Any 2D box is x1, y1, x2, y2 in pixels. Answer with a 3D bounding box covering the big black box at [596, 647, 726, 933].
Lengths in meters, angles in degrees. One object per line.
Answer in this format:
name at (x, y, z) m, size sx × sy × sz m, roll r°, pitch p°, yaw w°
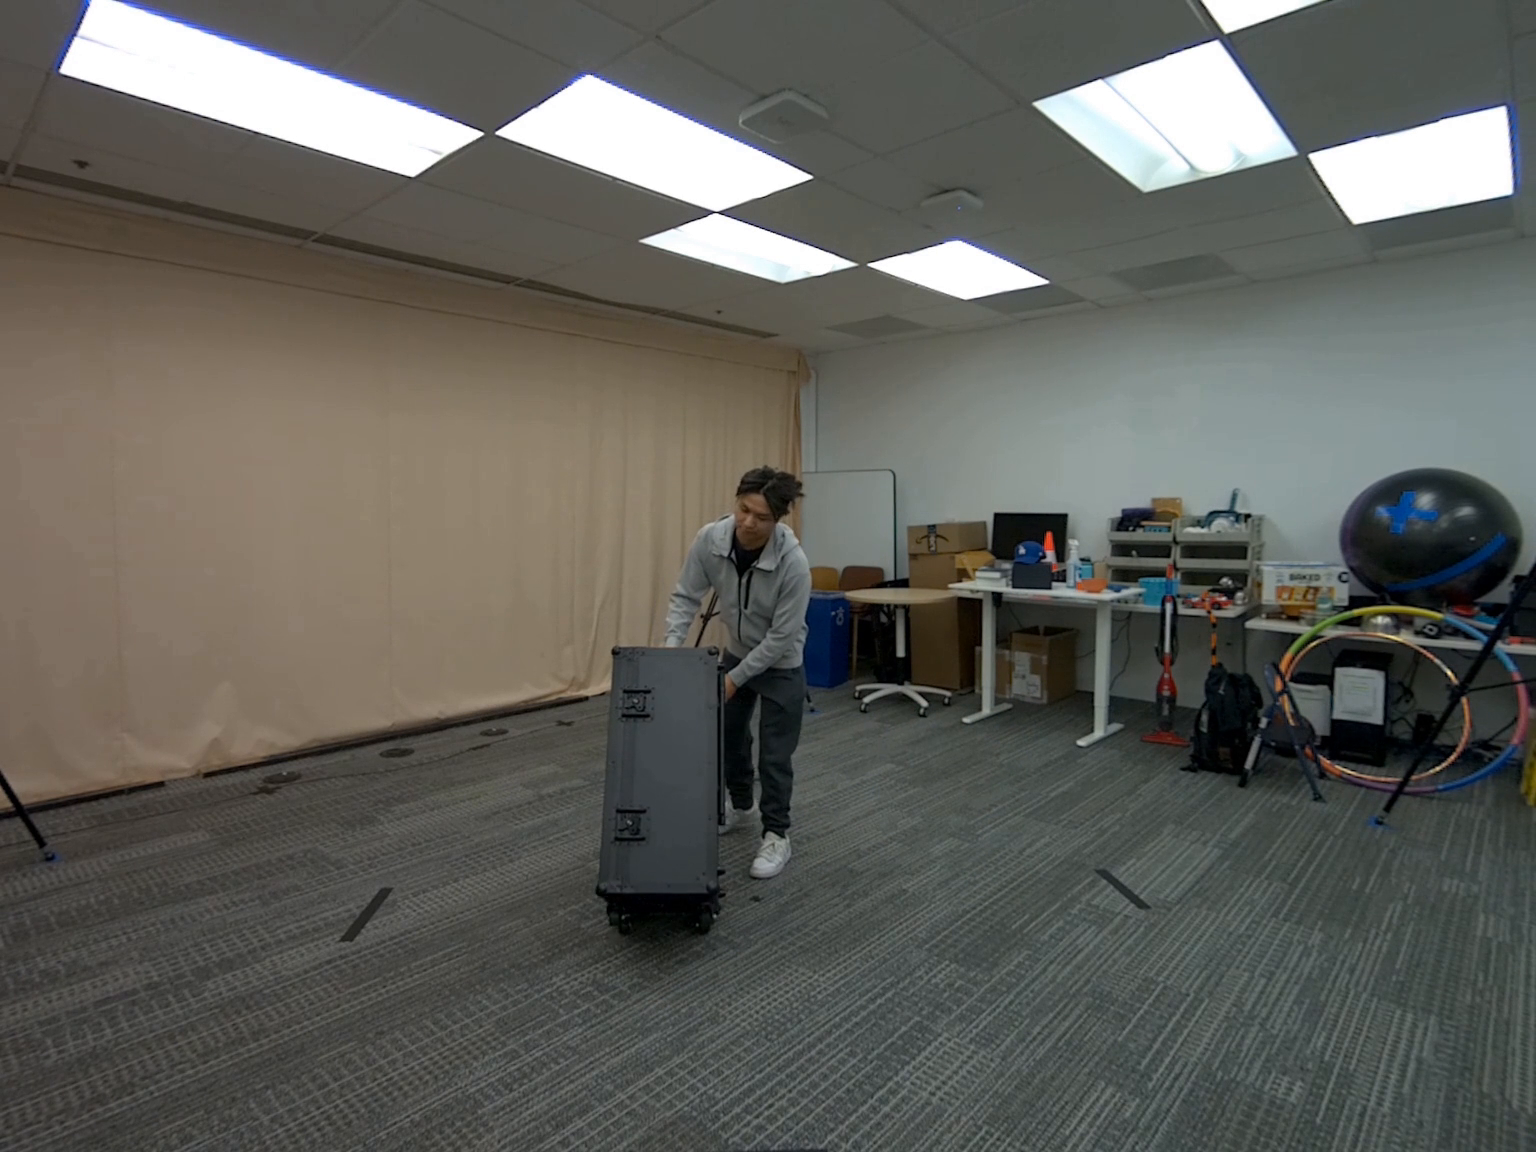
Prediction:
big black box at (-0.338, 0.731, 2.853) m, size 0.396 × 0.875 × 0.513 m, roll 0°, pitch -29°, yaw -1°
